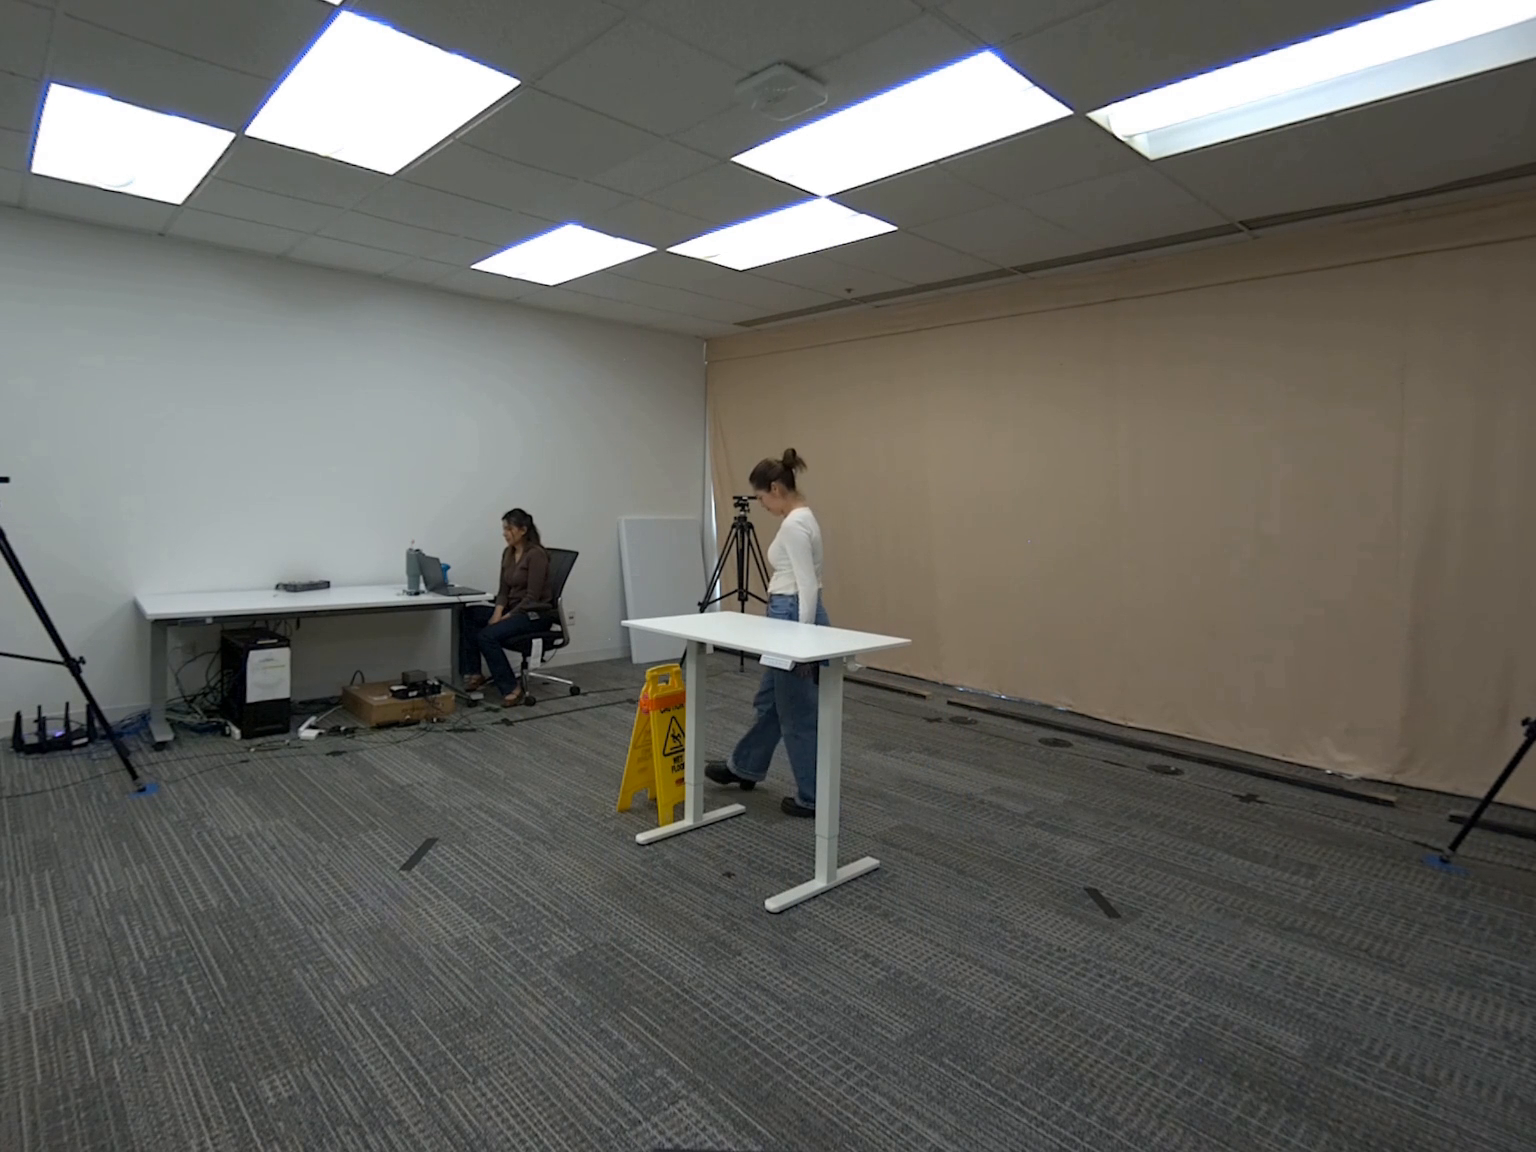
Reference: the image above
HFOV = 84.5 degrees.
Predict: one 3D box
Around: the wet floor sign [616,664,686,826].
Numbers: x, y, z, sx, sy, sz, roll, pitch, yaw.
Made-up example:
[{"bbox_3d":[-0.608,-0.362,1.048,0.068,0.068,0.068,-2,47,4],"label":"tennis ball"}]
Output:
[{"bbox_3d":[-0.476,0.717,3.709,0.297,0.645,0.276,5,3,38],"label":"wet floor sign"}]
